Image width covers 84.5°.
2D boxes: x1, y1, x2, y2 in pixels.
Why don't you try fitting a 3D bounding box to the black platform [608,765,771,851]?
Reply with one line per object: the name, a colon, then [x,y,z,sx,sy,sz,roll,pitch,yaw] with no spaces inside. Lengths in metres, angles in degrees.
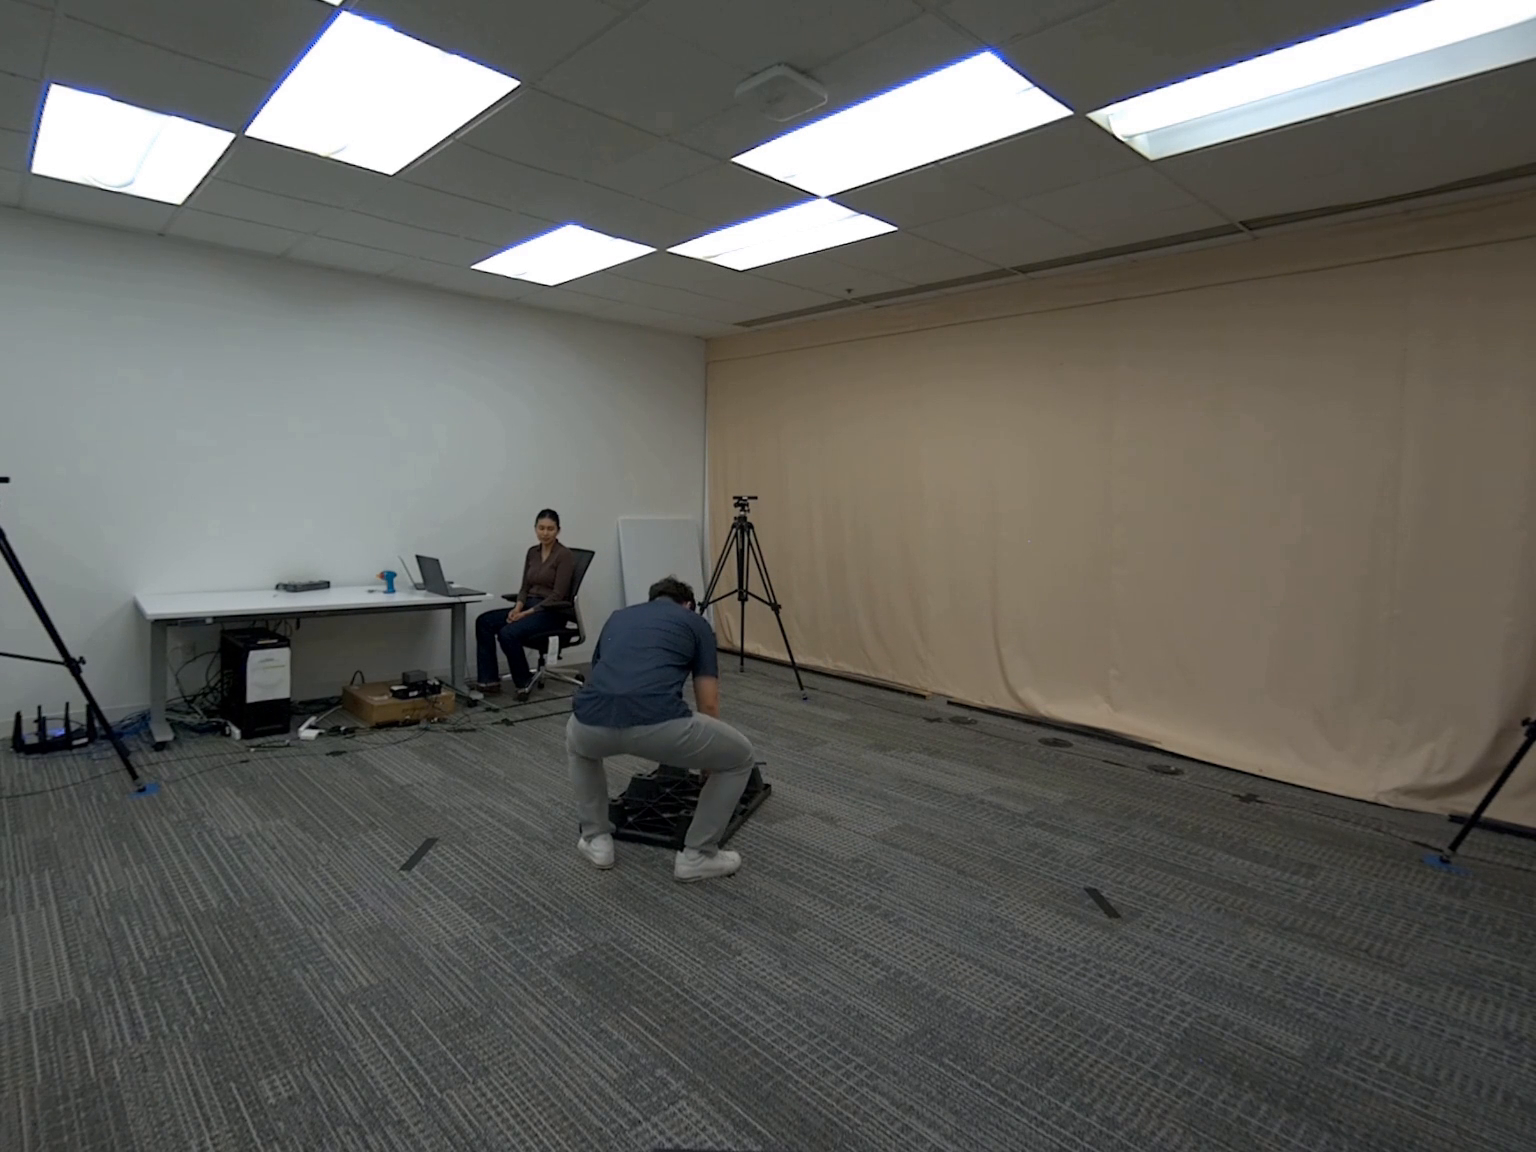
black platform: [-0.391,0.978,3.732,0.614,0.143,0.796,3,5,17]
